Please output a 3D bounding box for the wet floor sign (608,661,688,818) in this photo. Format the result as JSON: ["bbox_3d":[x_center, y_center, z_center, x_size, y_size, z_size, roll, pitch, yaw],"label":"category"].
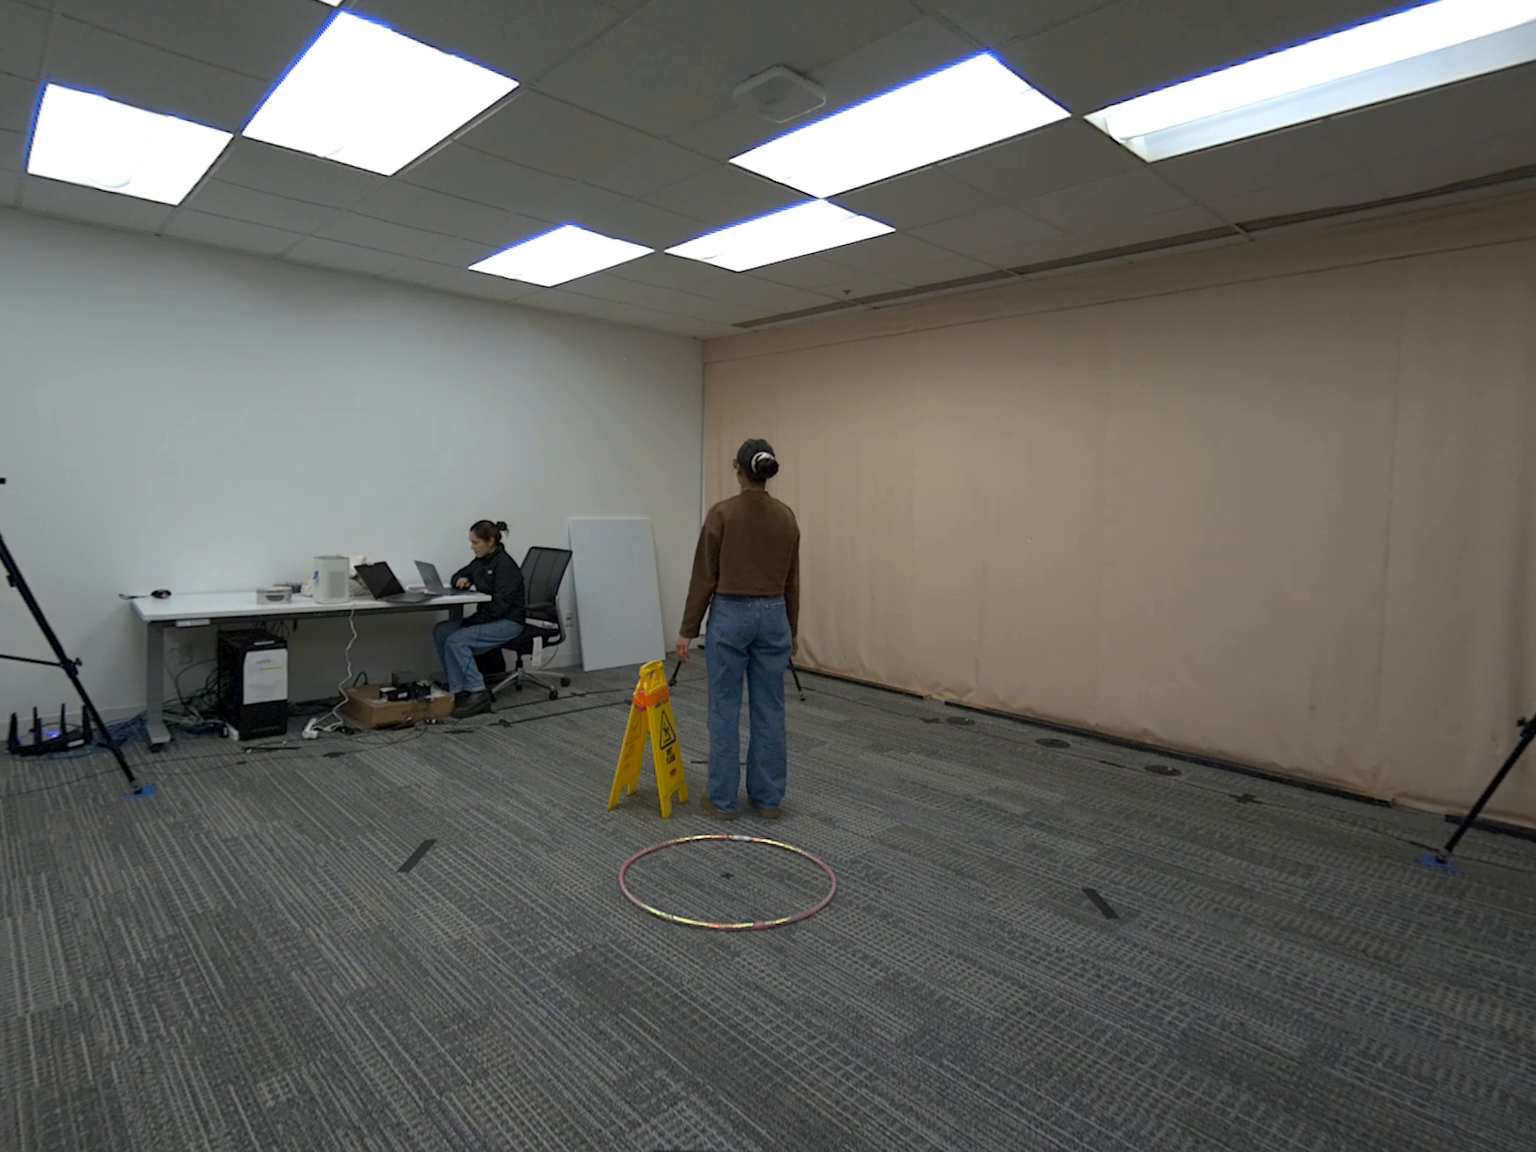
[{"bbox_3d":[-0.537,0.708,3.802,0.294,0.645,0.279,3,2,17],"label":"wet floor sign"}]
